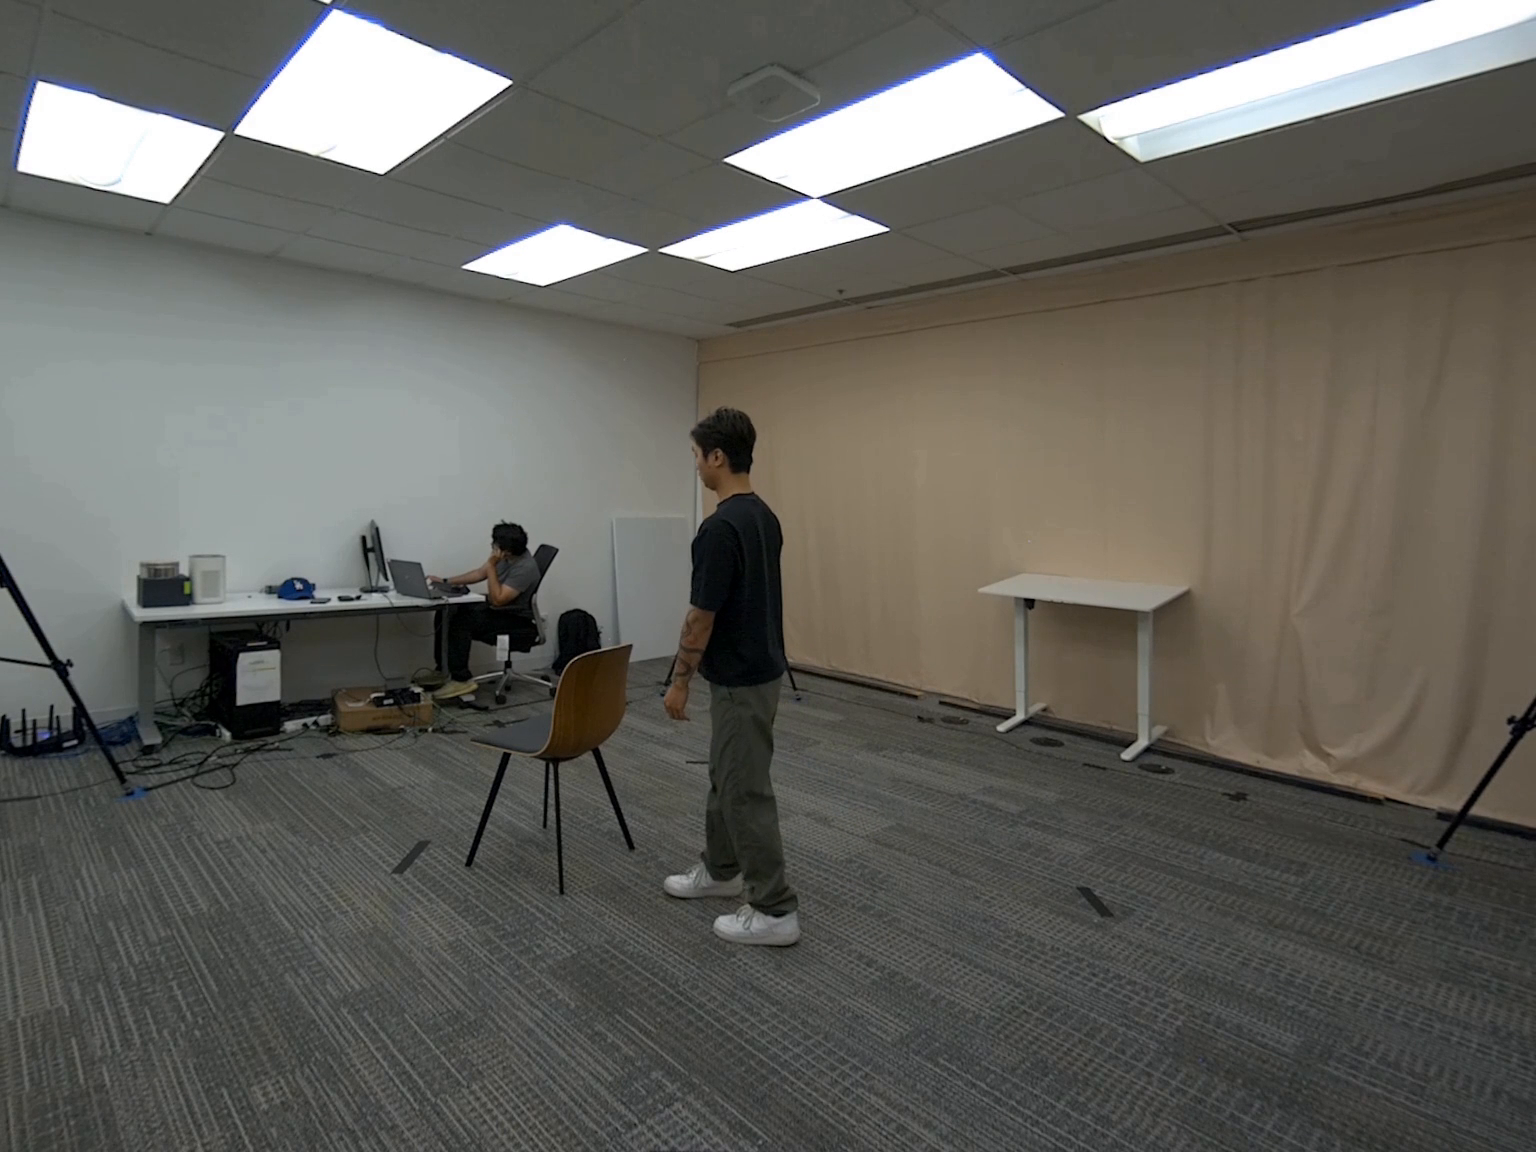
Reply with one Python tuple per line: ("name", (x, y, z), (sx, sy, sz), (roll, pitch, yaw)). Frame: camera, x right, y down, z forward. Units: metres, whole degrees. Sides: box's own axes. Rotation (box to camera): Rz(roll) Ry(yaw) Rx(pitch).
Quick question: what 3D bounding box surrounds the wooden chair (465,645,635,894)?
("wooden chair", (-0.826, 0.654, 3.196), (0.534, 0.874, 0.470), (8, 6, 26))
